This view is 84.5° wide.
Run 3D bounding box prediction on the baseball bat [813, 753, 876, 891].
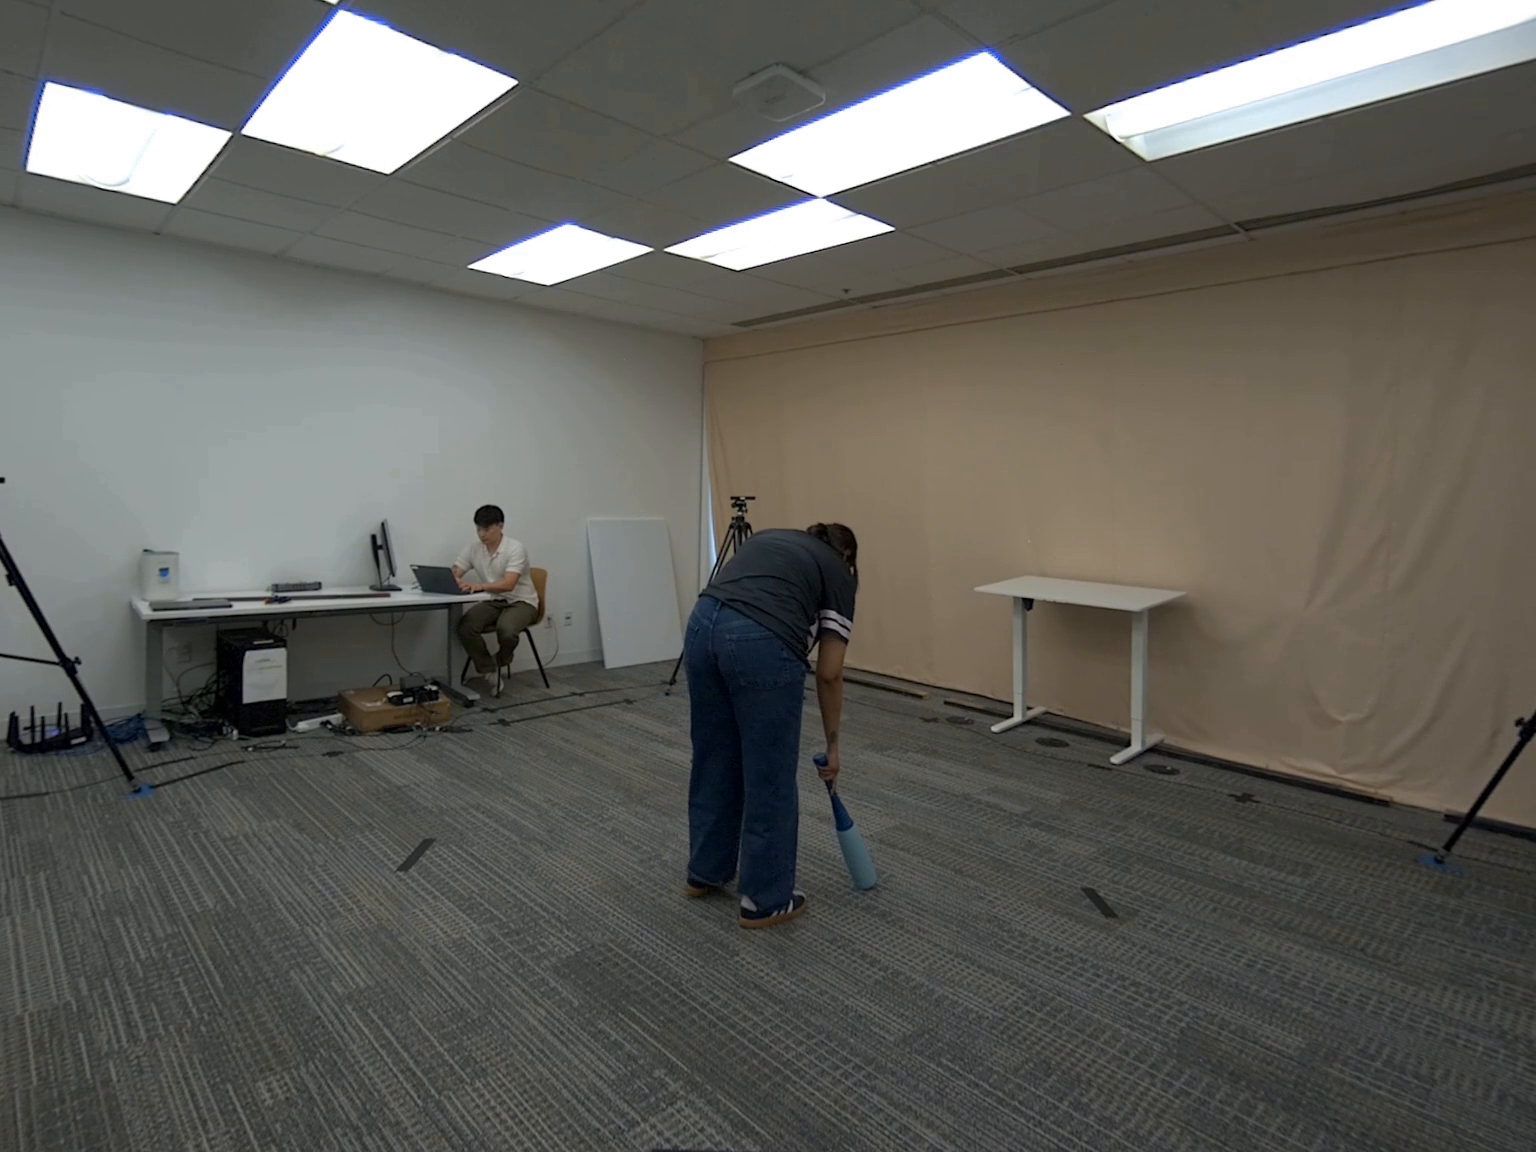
[{"bbox_3d":[0.255,0.874,2.986,0.089,0.536,0.090,-21,12,4],"label":"baseball bat"}]
